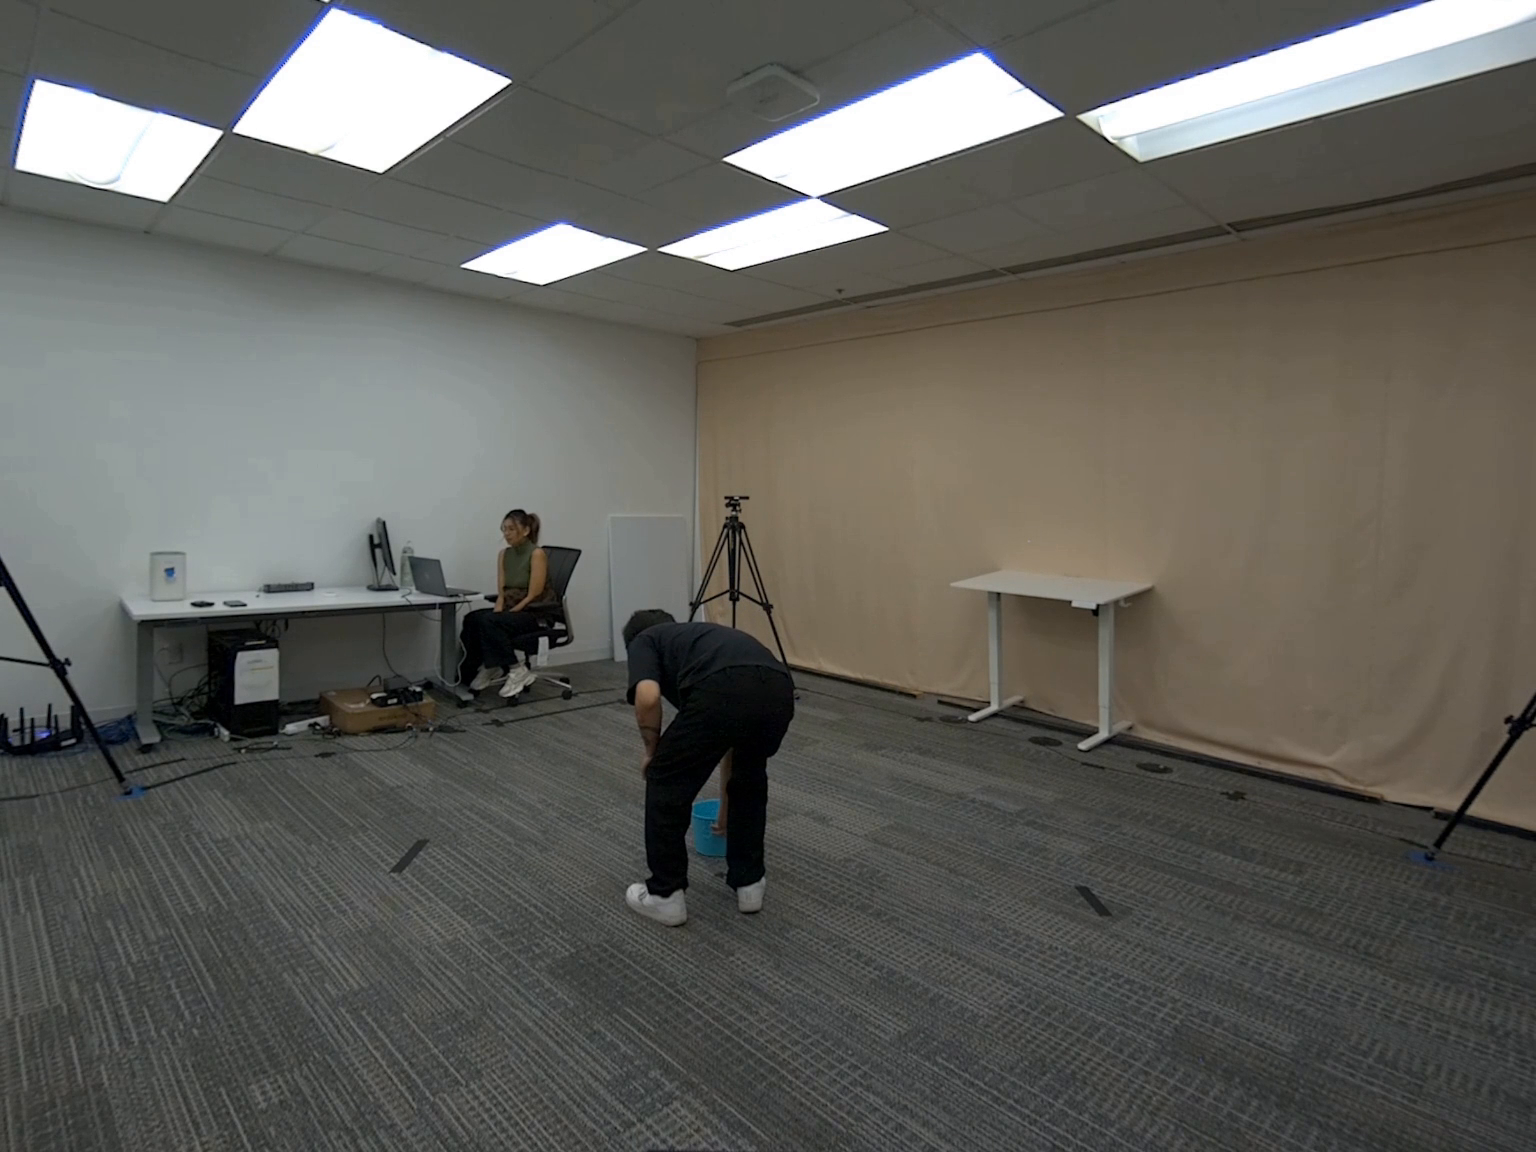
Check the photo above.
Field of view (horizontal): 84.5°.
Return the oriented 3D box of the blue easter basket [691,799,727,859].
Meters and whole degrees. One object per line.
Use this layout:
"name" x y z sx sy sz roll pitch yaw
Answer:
"blue easter basket" -0.205 1.003 3.340 0.243 0.155 0.244 1 3 -1
